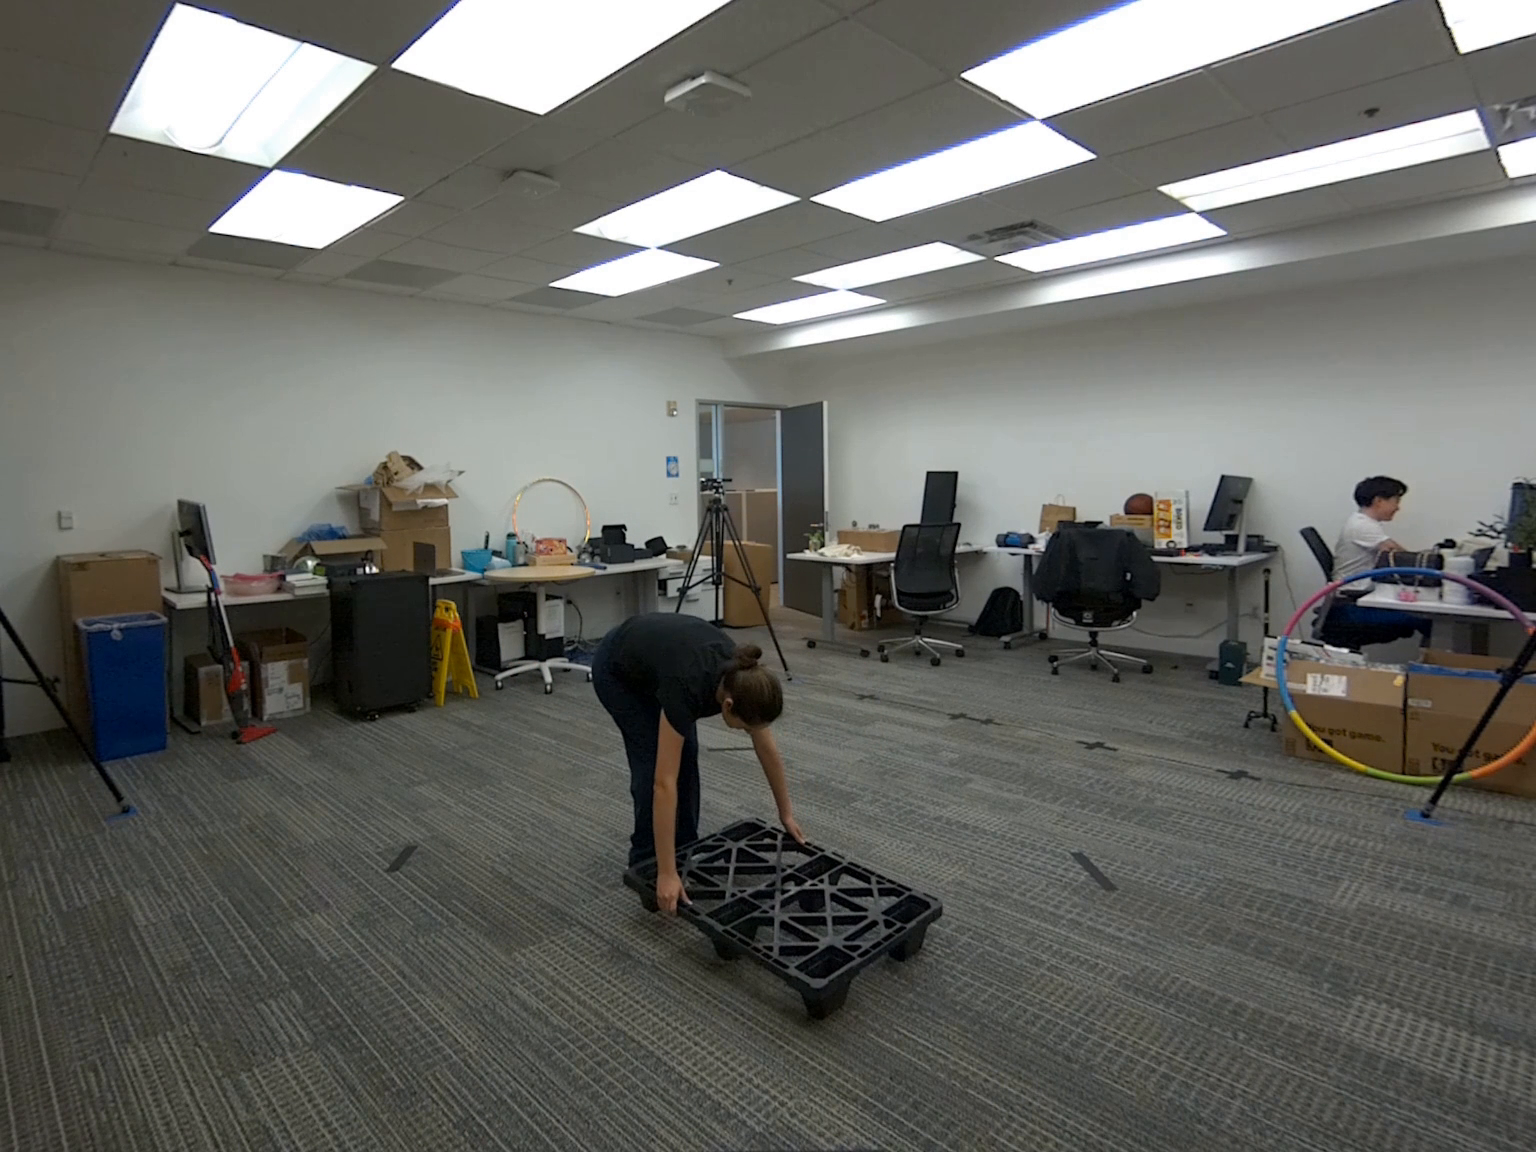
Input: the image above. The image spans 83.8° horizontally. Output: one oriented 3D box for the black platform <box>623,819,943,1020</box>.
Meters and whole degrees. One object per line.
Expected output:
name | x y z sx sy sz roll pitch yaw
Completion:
black platform | 0.032 1.013 2.634 0.832 0.142 0.589 10 12 43
